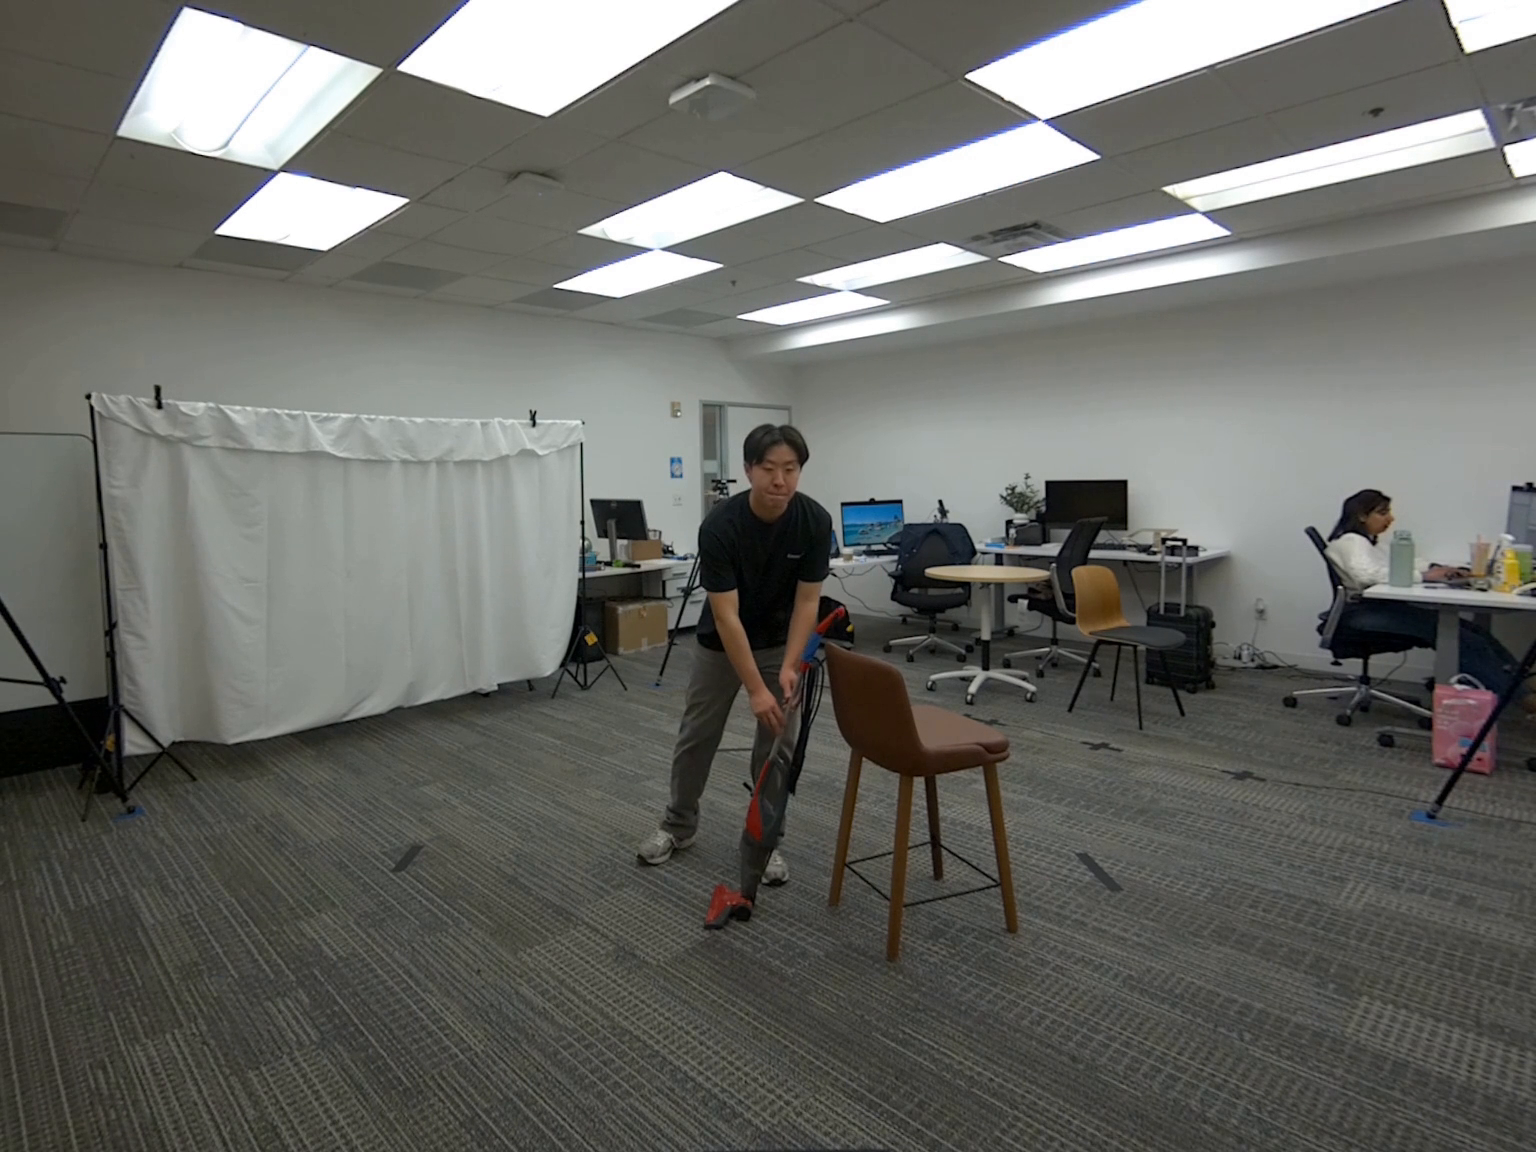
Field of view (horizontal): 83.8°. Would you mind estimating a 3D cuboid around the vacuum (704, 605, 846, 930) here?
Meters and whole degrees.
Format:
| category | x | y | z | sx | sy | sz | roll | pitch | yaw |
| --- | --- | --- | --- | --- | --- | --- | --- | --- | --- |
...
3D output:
| category | x | y | z | sx | sy | sz | roll | pitch | yaw |
| --- | --- | --- | --- | --- | --- | --- | --- | --- | --- |
| vacuum | 0.053 | 0.602 | 2.707 | 0.144 | 1.045 | 0.254 | 19 | 6 | -3 |
